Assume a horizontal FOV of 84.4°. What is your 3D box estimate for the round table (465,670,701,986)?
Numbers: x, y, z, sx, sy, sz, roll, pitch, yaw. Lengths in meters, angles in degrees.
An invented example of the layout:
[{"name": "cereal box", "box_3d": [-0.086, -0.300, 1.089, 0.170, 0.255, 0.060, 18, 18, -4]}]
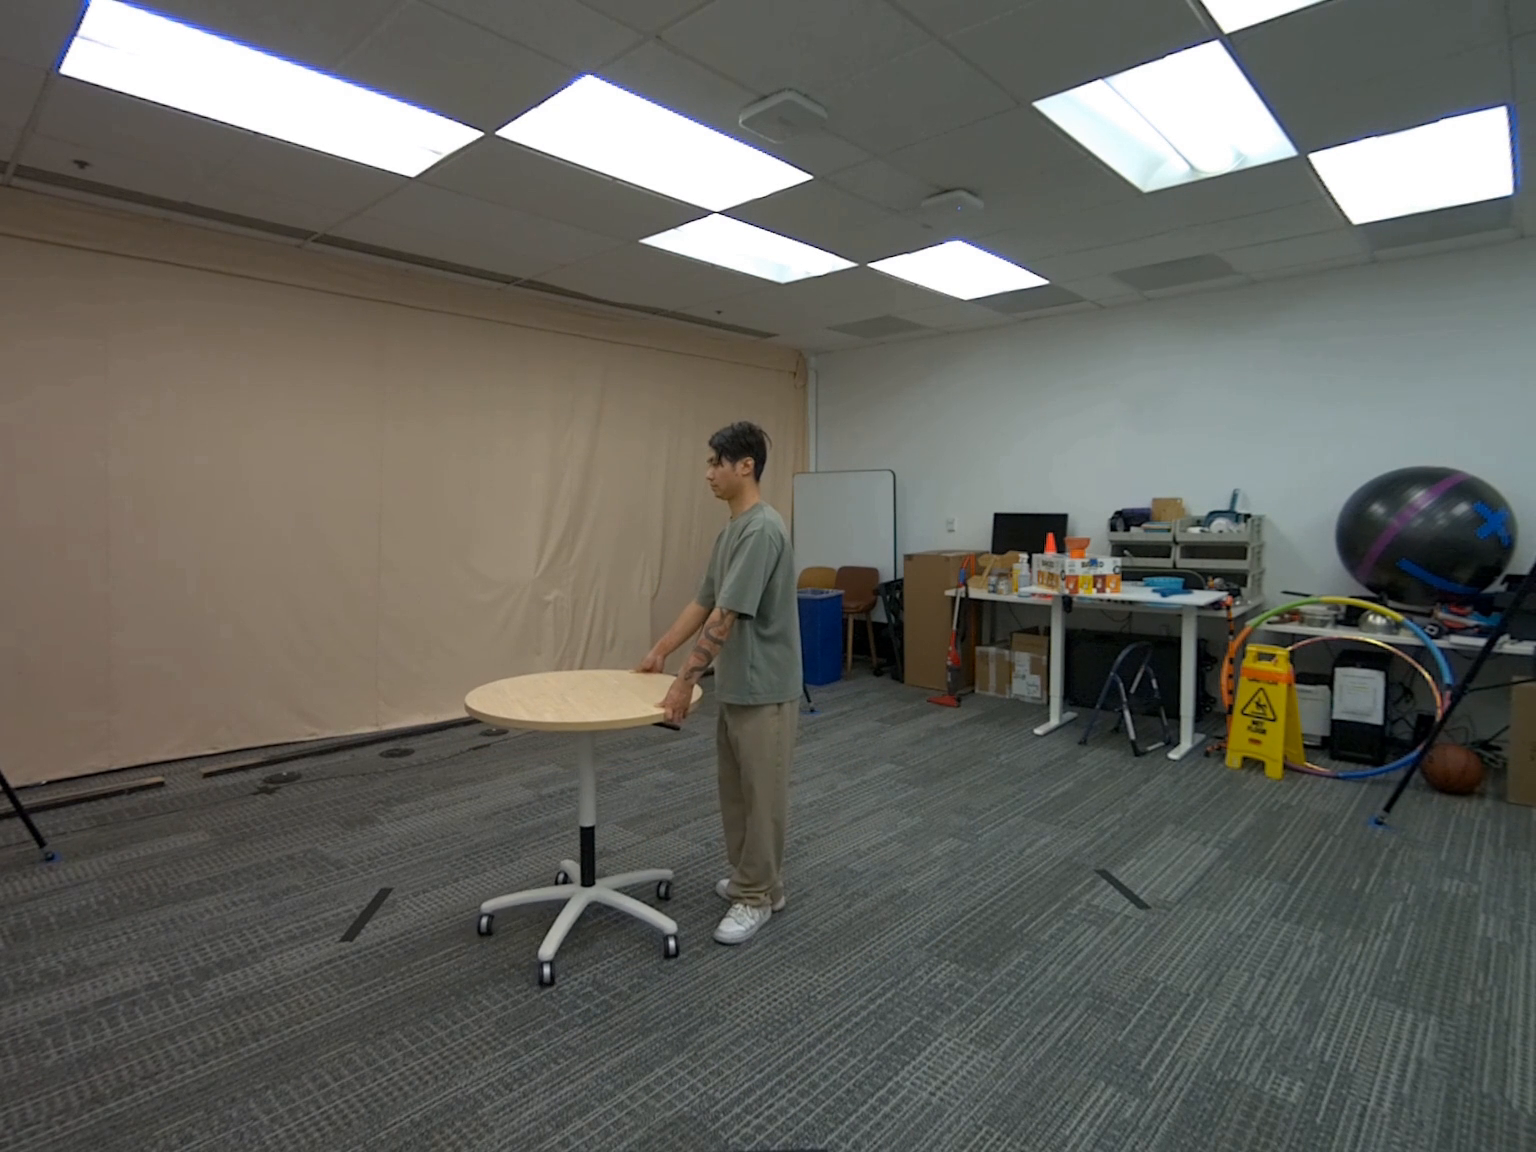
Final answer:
[{"name": "round table", "box_3d": [-0.610, 0.775, 2.783, 0.784, 0.785, 0.787, 0, 3, -2]}]
